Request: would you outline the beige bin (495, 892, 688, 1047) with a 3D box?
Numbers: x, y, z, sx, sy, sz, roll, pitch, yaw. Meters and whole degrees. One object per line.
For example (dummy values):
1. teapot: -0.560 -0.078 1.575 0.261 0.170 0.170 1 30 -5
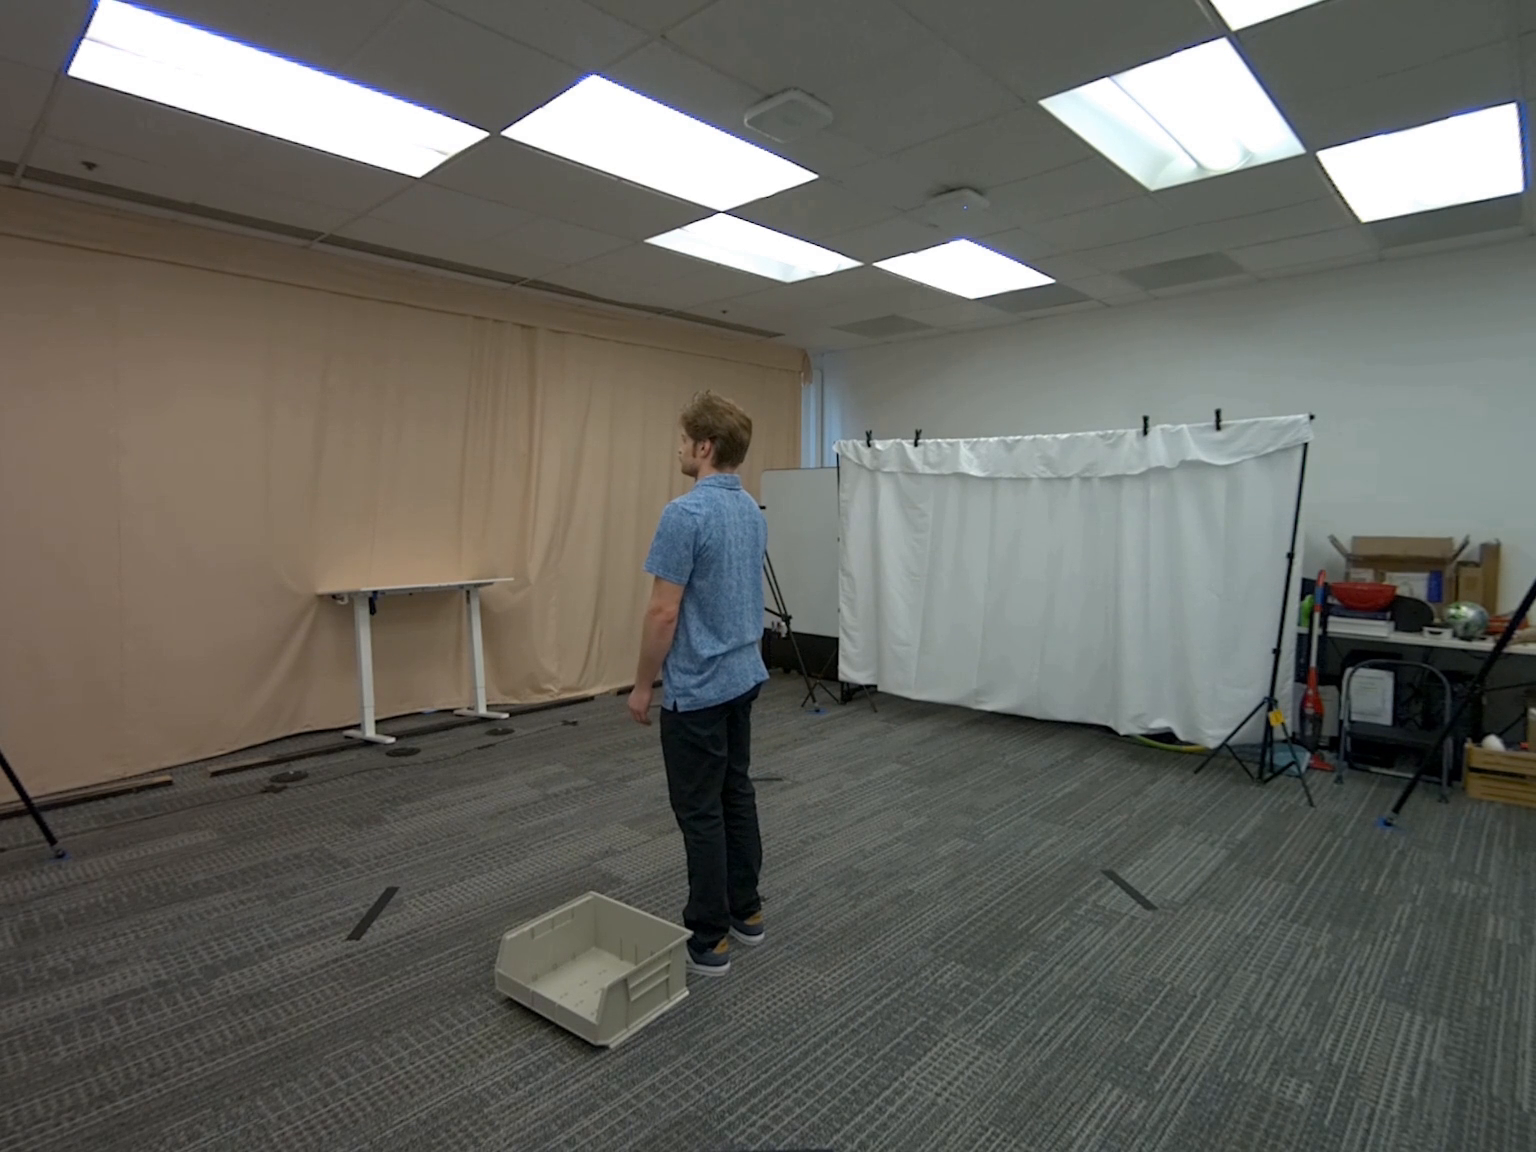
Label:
1. beige bin: -0.494 1.106 2.386 0.436 0.189 0.366 3 4 37
